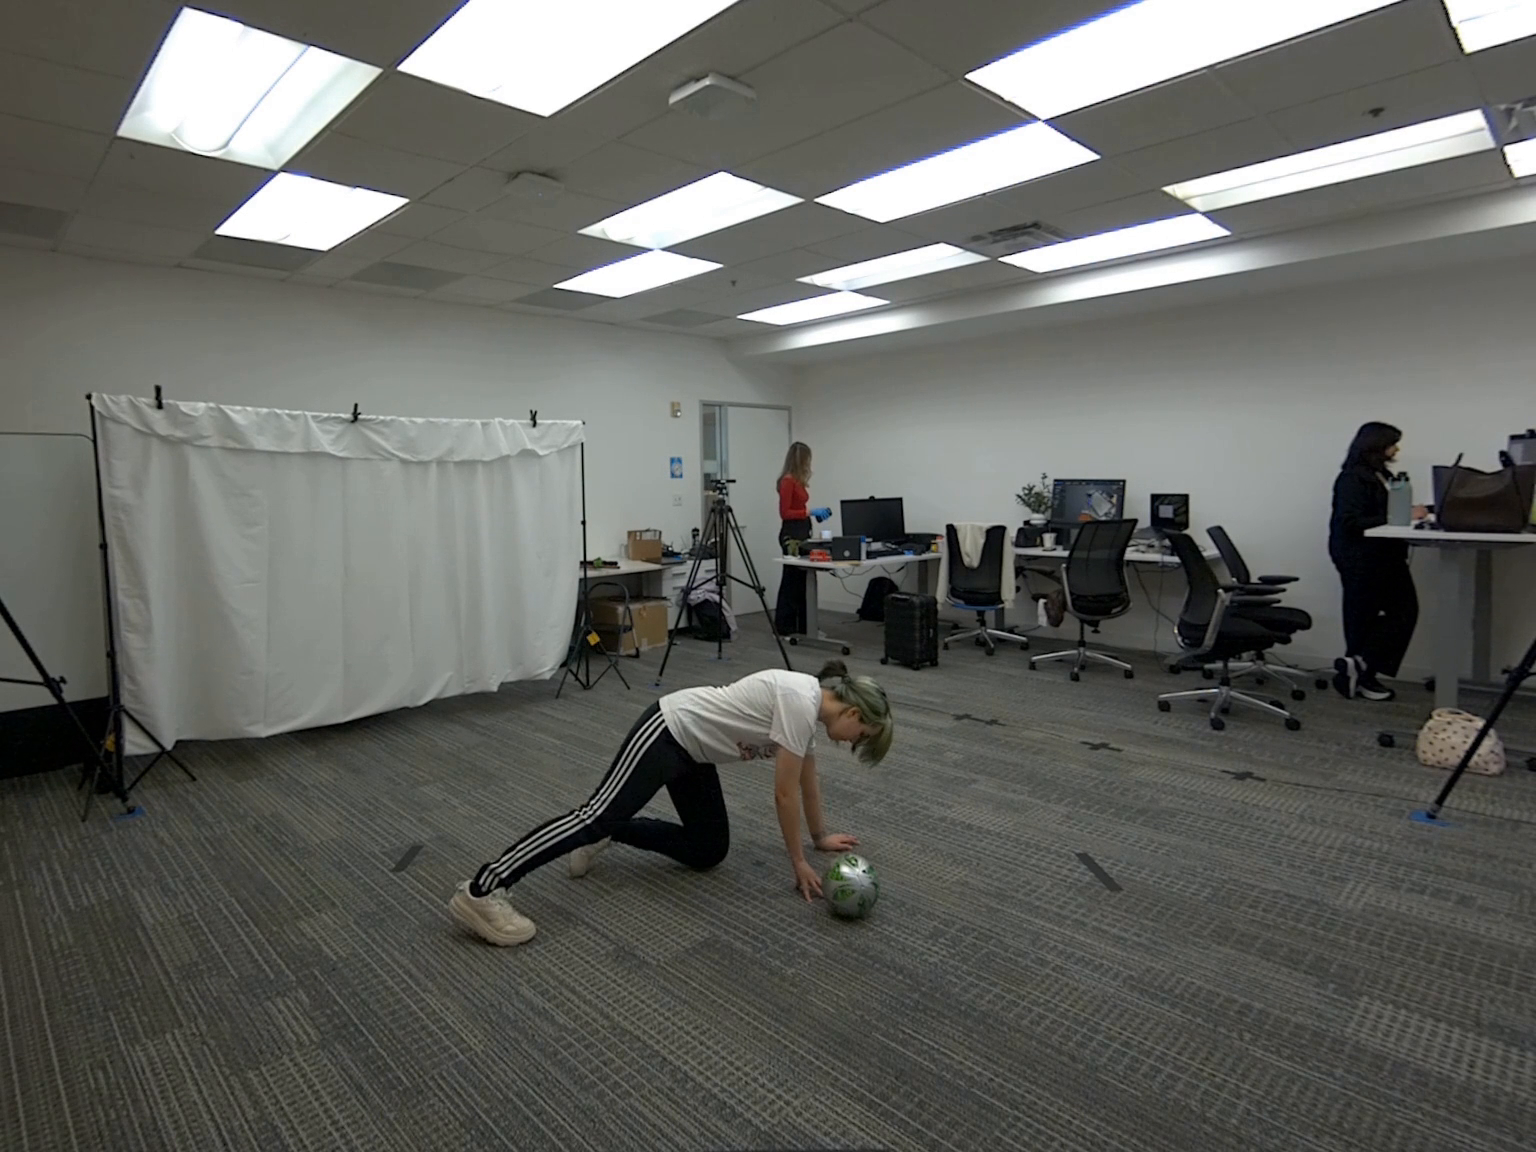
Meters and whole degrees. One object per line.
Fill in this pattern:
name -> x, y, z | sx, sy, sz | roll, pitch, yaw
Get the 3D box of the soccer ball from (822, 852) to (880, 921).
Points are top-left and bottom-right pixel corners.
soccer ball -> 0.260, 0.986, 2.727 | 0.187, 0.187, 0.188 | -1, 5, -2
